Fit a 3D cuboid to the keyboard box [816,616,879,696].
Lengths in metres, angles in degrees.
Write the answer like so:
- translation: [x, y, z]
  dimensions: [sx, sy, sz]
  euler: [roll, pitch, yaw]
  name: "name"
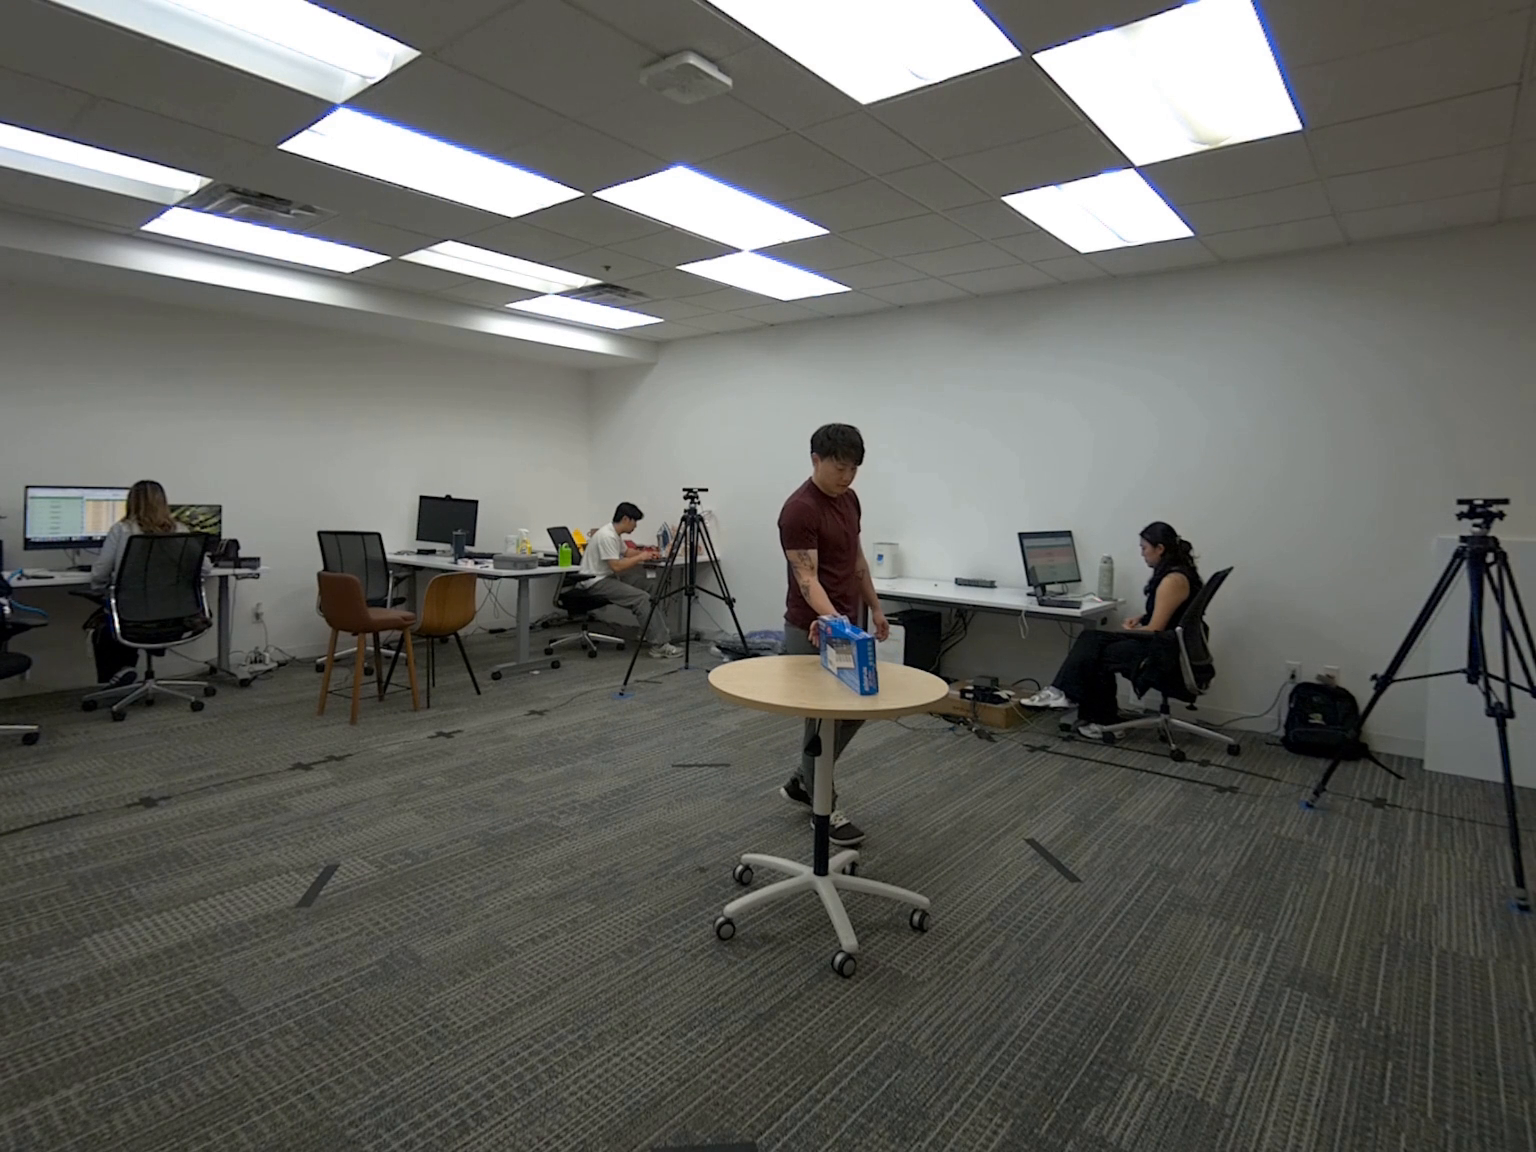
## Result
- translation: [0.245, 0.244, 2.754]
  dimensions: [0.058, 0.175, 0.444]
  euler: [-5, 7, -12]
  name: "keyboard box"
